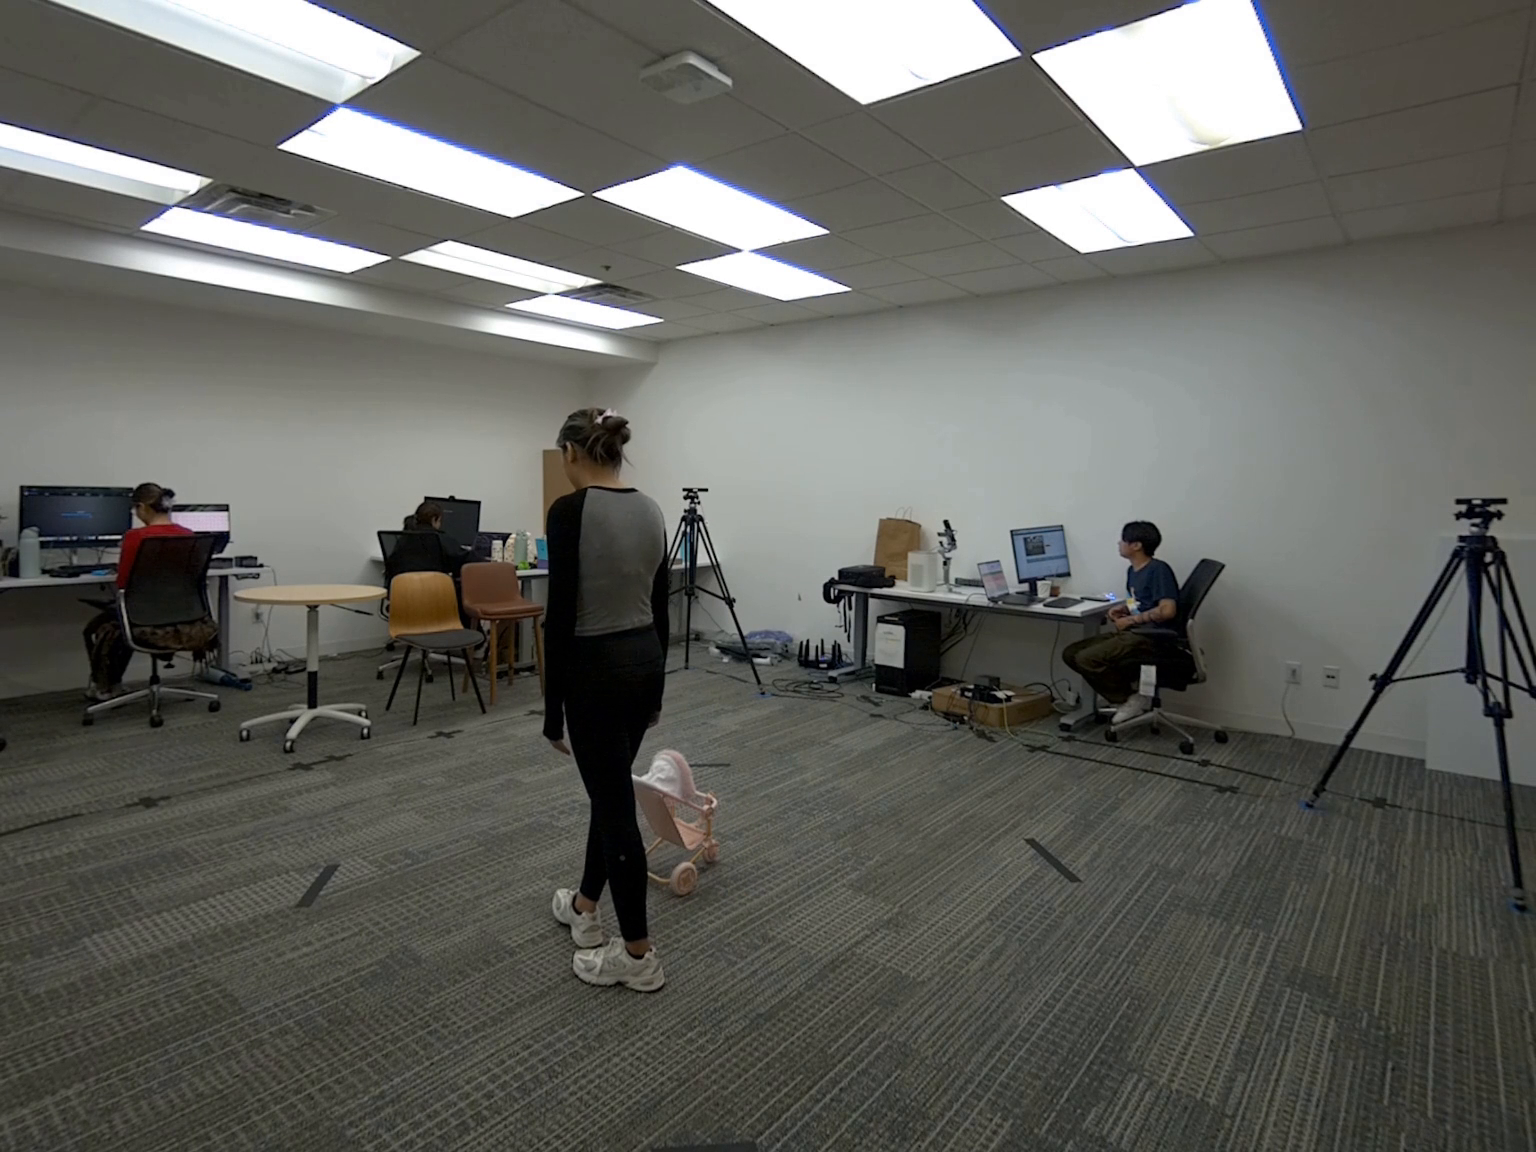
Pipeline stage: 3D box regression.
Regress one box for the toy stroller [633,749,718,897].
[{"bbox_3d":[-0.347,0.851,3.029,0.335,0.527,0.291,-23,19,-40],"label":"toy stroller"}]
